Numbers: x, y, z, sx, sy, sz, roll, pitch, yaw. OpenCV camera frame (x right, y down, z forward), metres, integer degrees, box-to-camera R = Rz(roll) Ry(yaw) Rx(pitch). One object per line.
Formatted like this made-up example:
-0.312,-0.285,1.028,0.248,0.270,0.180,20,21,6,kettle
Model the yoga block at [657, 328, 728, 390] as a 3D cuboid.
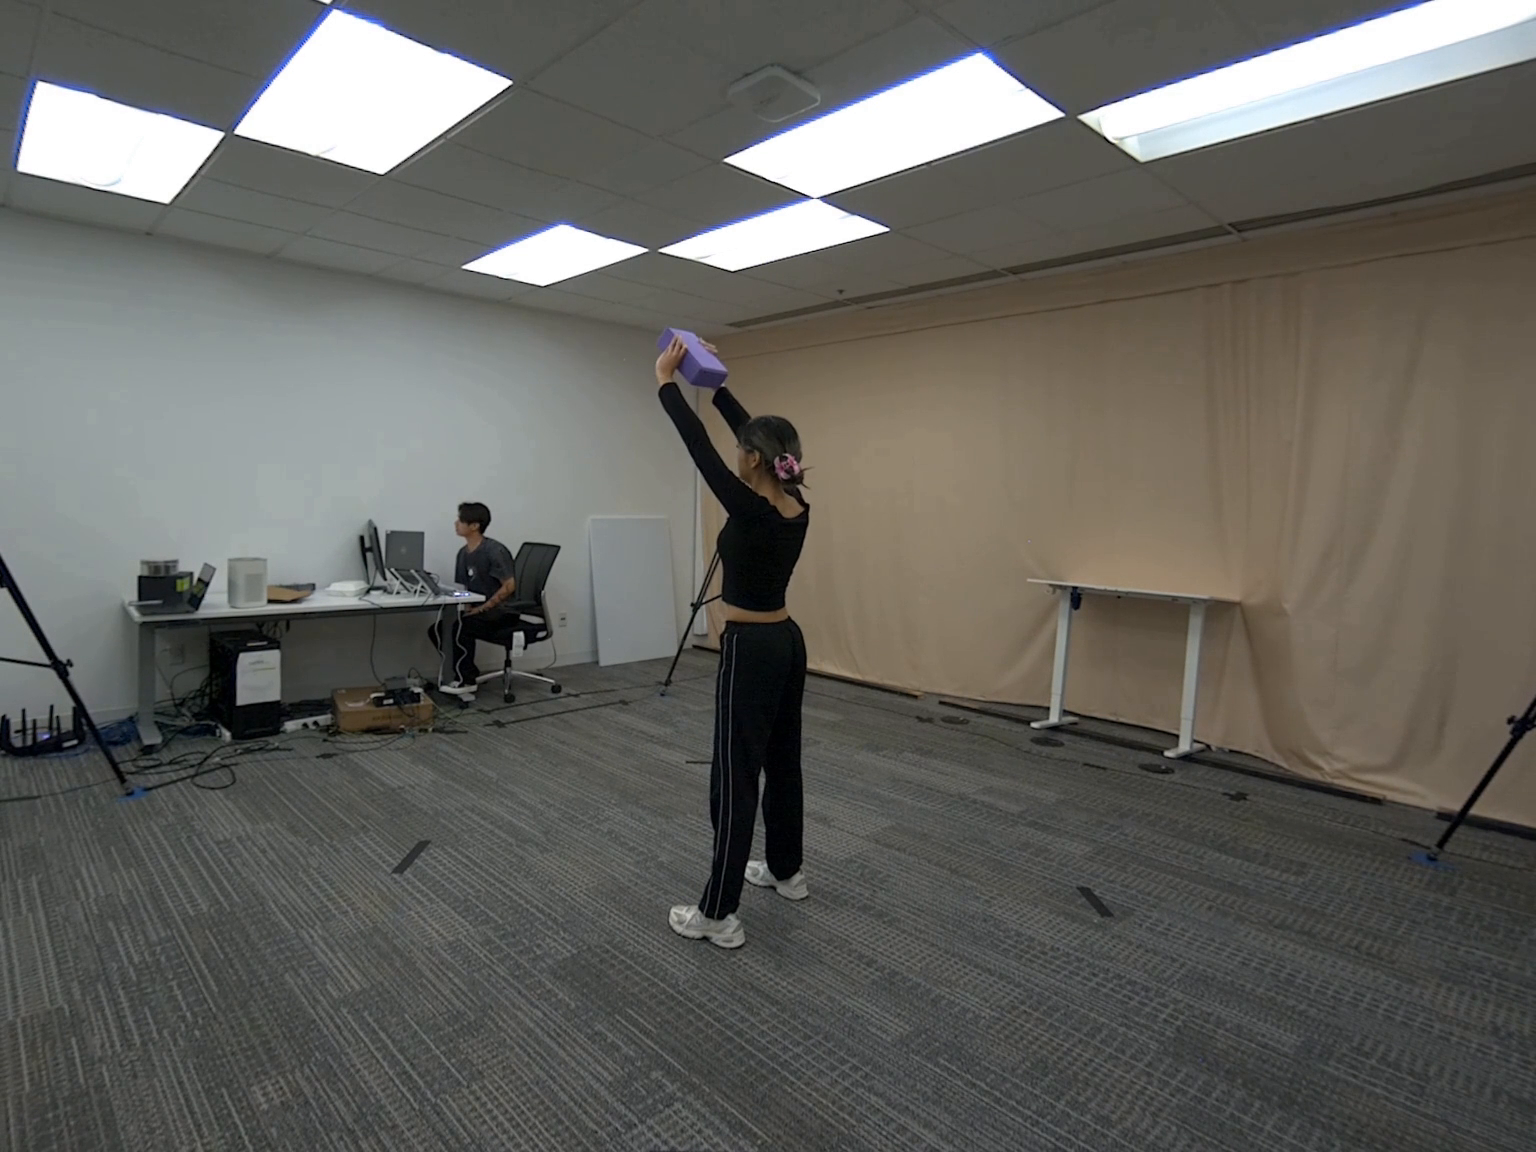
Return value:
-0.268,-0.735,2.852,0.146,0.076,0.235,-5,49,-52,yoga block
